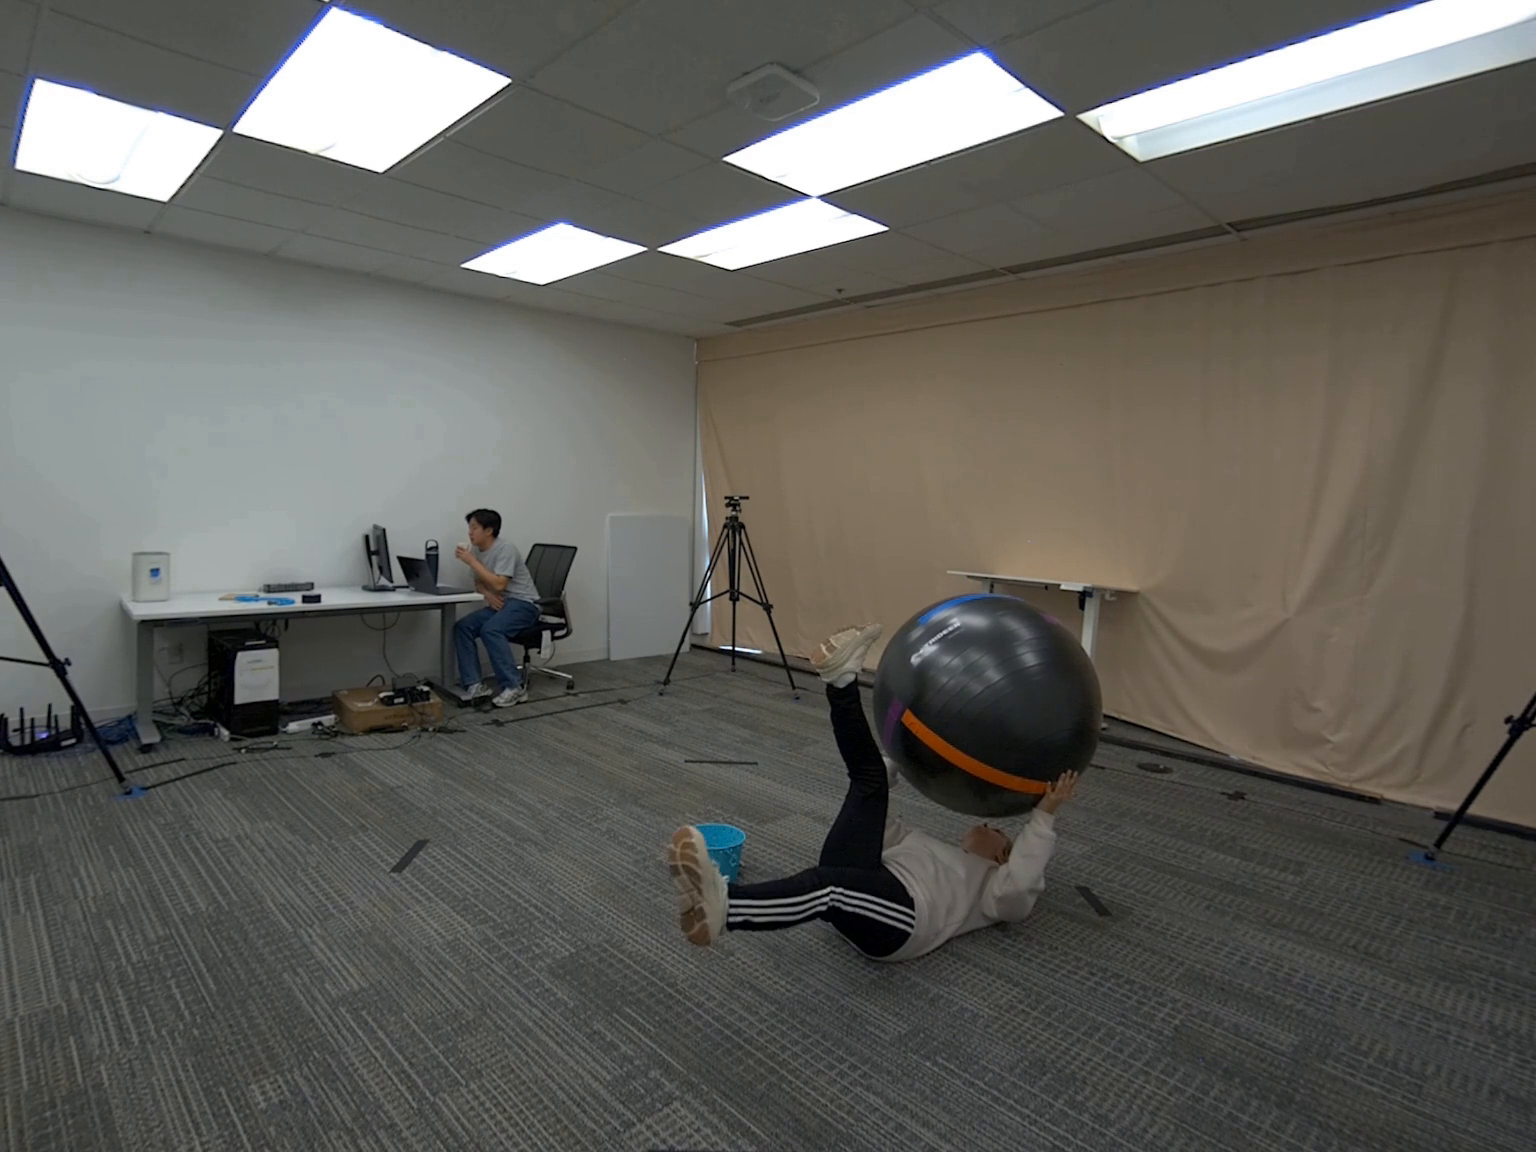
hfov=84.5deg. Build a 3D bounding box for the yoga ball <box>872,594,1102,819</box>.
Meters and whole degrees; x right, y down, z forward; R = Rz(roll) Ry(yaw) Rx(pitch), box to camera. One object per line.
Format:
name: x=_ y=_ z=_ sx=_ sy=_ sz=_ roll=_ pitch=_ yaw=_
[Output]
yoga ball: x=0.746 y=0.443 z=2.912 sx=0.757 sy=0.756 sz=0.761 roll=1 pitch=4 yaw=-1
